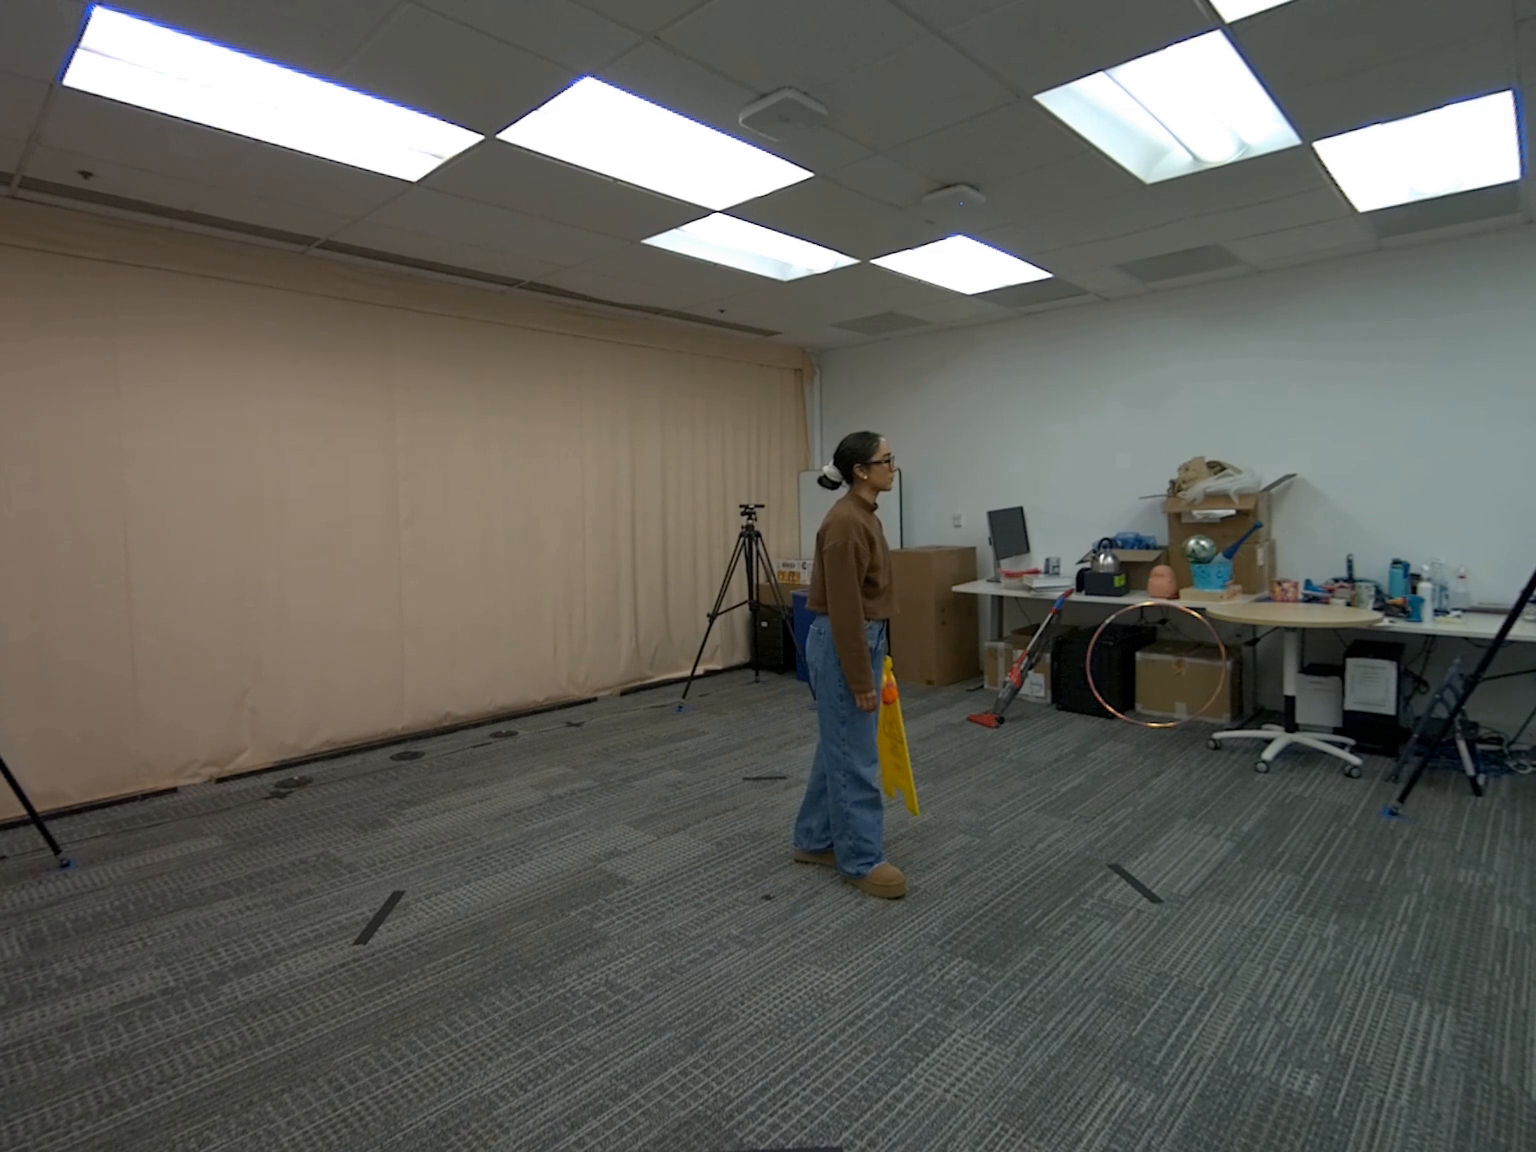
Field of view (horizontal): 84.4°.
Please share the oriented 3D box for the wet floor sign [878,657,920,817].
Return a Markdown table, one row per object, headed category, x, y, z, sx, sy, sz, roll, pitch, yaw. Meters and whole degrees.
| category | x | y | z | sx | sy | sz | roll | pitch | yaw |
| --- | --- | --- | --- | --- | --- | --- | --- | --- | --- |
| wet floor sign | 0.448 | 0.637 | 3.459 | 0.285 | 0.645 | 0.287 | -1 | 3 | -15 |
